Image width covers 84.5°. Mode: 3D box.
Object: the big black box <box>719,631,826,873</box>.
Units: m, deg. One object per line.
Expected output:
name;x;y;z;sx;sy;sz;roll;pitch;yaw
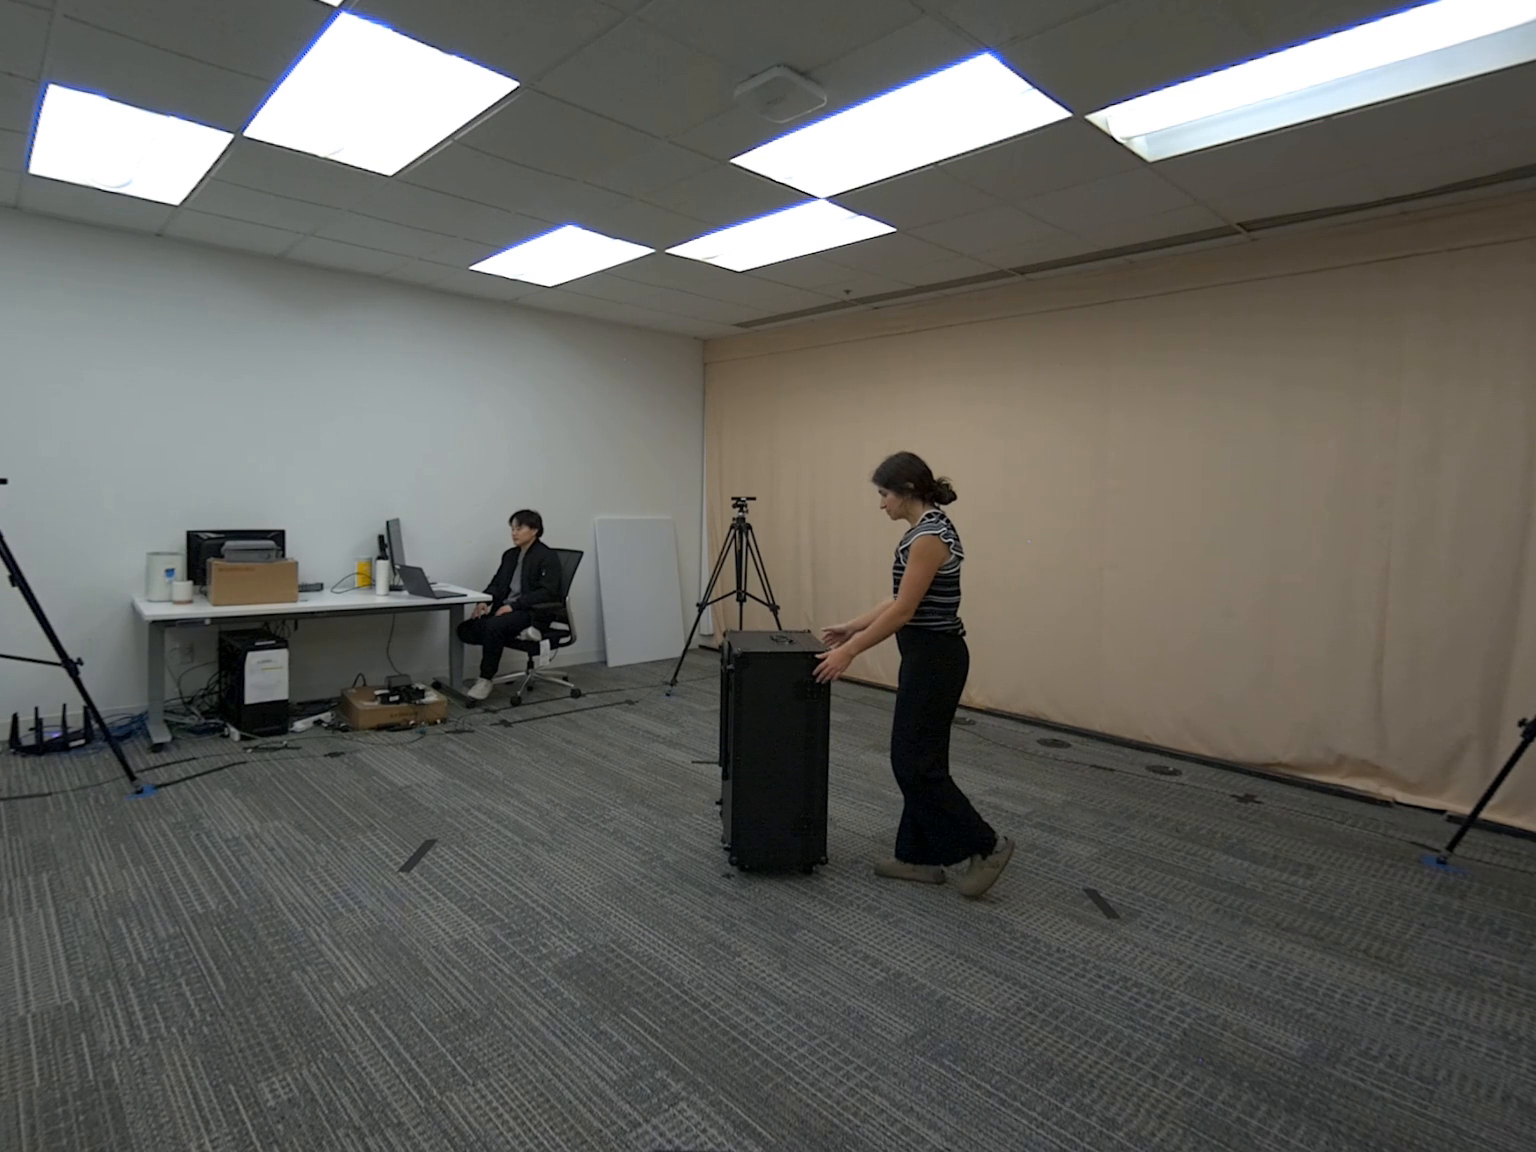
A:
big black box;0.004;0.672;3.252;0.394;0.859;0.525;1;4;-6
